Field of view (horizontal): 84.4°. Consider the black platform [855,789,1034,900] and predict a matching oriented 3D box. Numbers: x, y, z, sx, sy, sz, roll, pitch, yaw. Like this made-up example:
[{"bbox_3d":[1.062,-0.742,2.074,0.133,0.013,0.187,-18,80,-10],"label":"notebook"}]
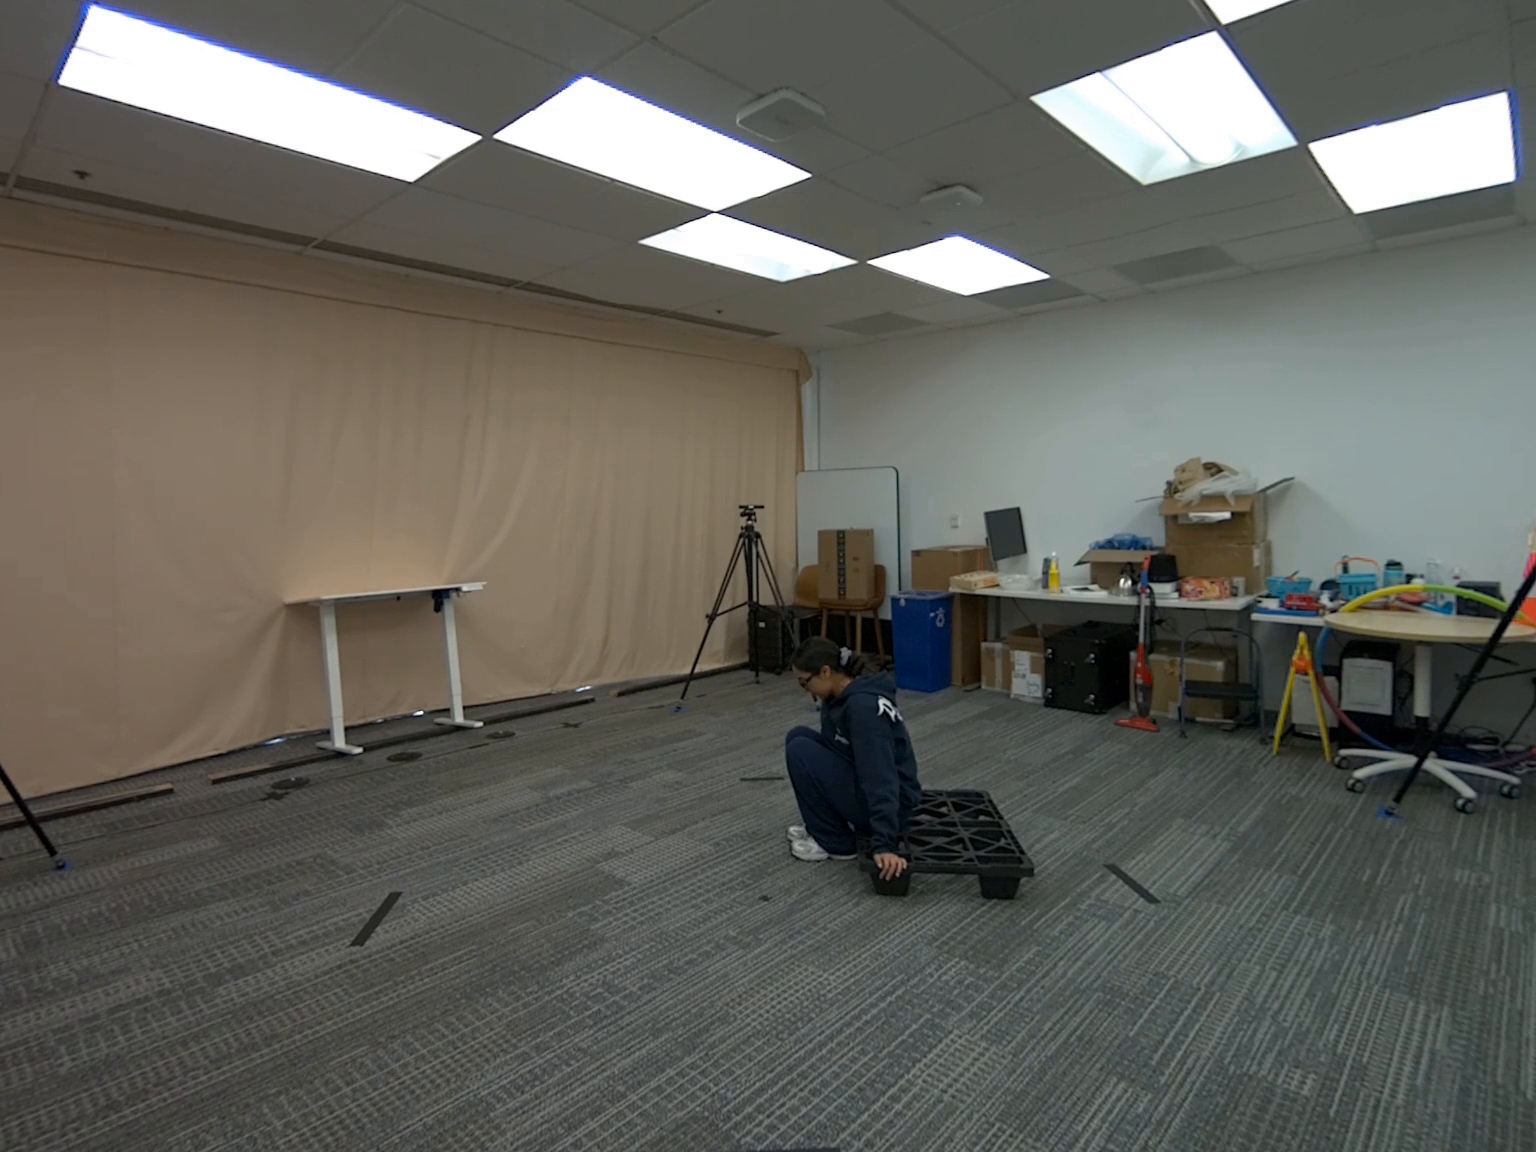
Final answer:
[{"bbox_3d":[0.655,1.032,3.309,0.608,0.143,0.804,1,5,3],"label":"black platform"}]
